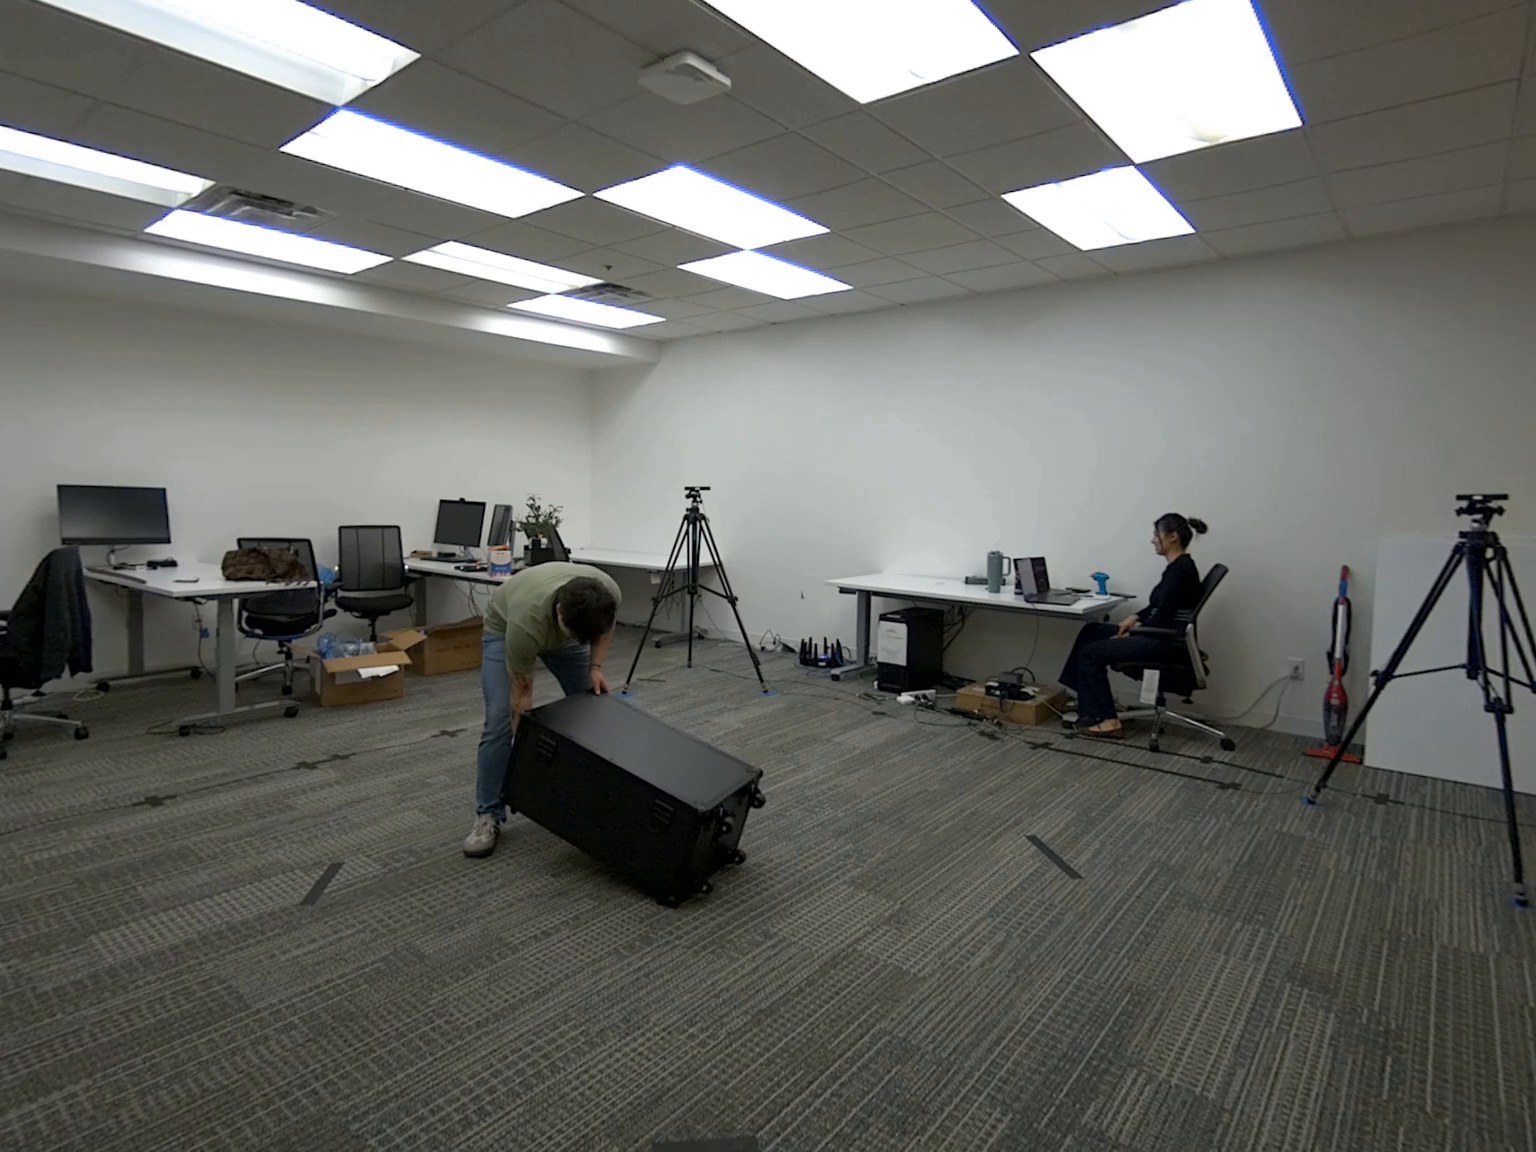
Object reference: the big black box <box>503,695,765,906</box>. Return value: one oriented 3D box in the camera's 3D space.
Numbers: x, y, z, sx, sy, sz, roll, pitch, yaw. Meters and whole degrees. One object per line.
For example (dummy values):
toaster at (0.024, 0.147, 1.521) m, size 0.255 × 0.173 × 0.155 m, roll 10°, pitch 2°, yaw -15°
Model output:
big black box at (-0.488, 0.791, 3.113) m, size 0.887 × 0.393 × 0.510 m, roll 21°, pitch 12°, yaw 23°
